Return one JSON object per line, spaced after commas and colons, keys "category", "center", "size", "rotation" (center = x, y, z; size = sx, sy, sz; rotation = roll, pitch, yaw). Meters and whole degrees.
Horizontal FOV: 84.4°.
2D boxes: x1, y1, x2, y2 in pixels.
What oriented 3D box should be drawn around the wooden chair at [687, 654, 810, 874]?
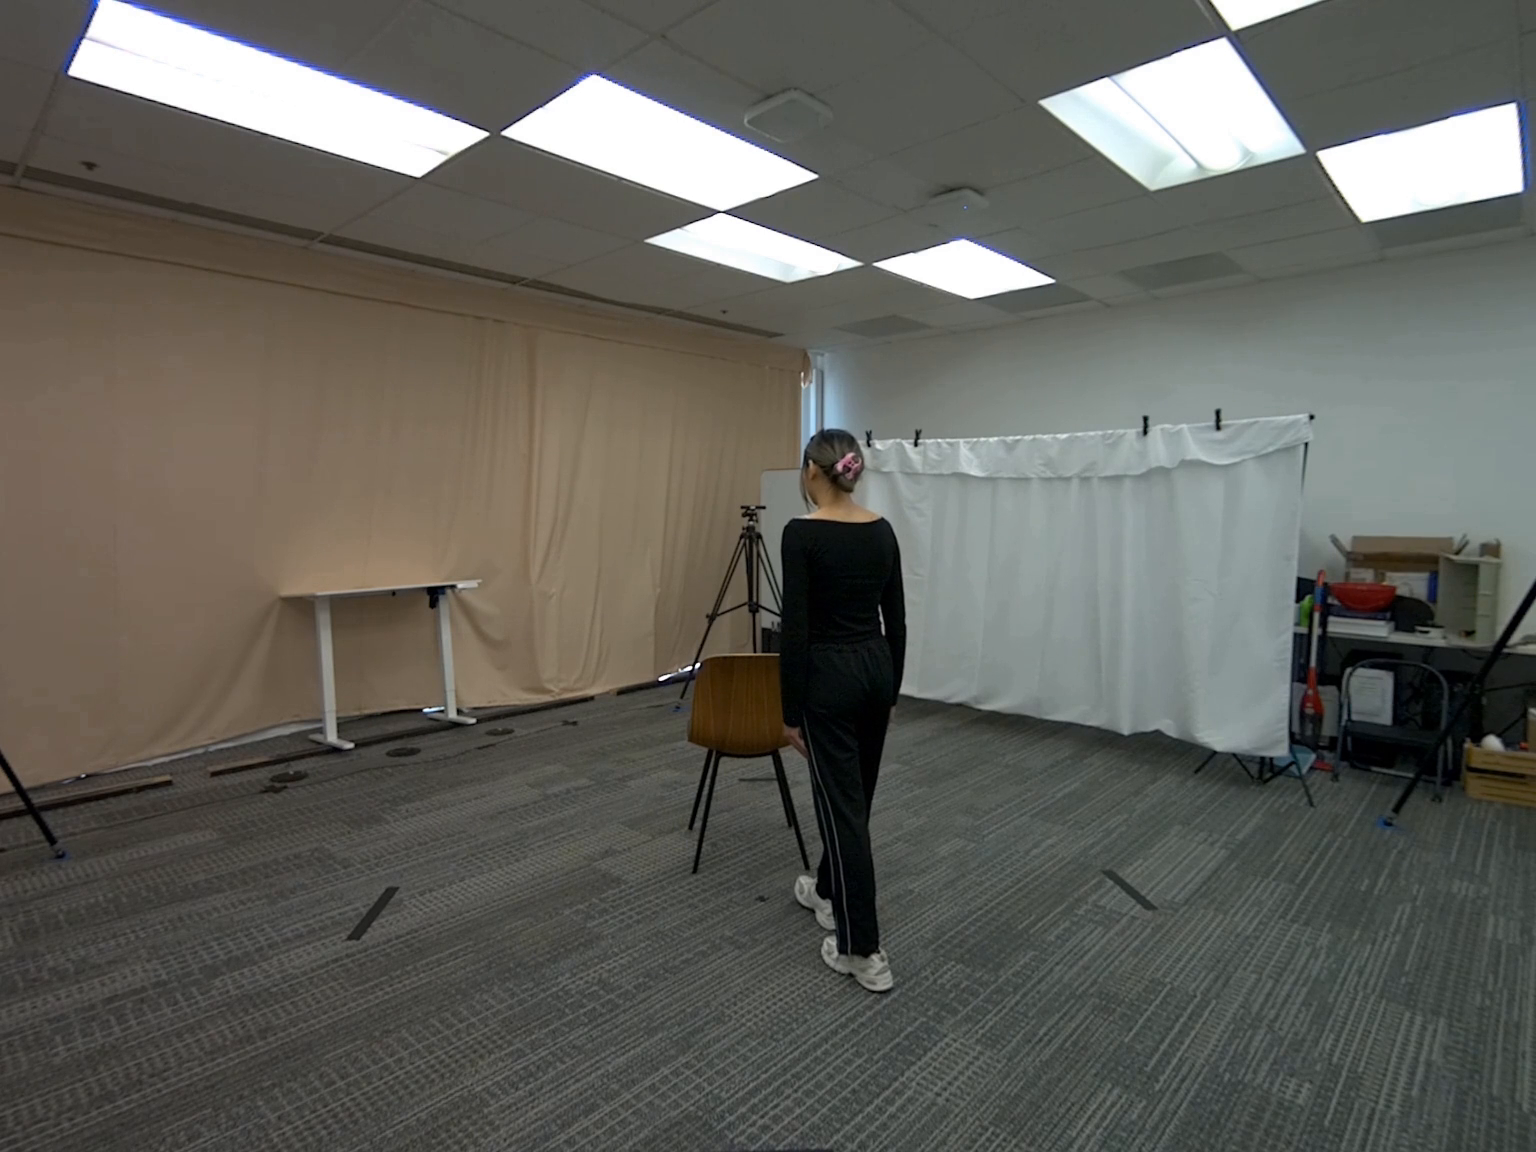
{"category": "wooden chair", "center": [-0.098, 0.681, 3.402], "size": [0.475, 0.873, 0.528], "rotation": [-1, 7, -6]}
